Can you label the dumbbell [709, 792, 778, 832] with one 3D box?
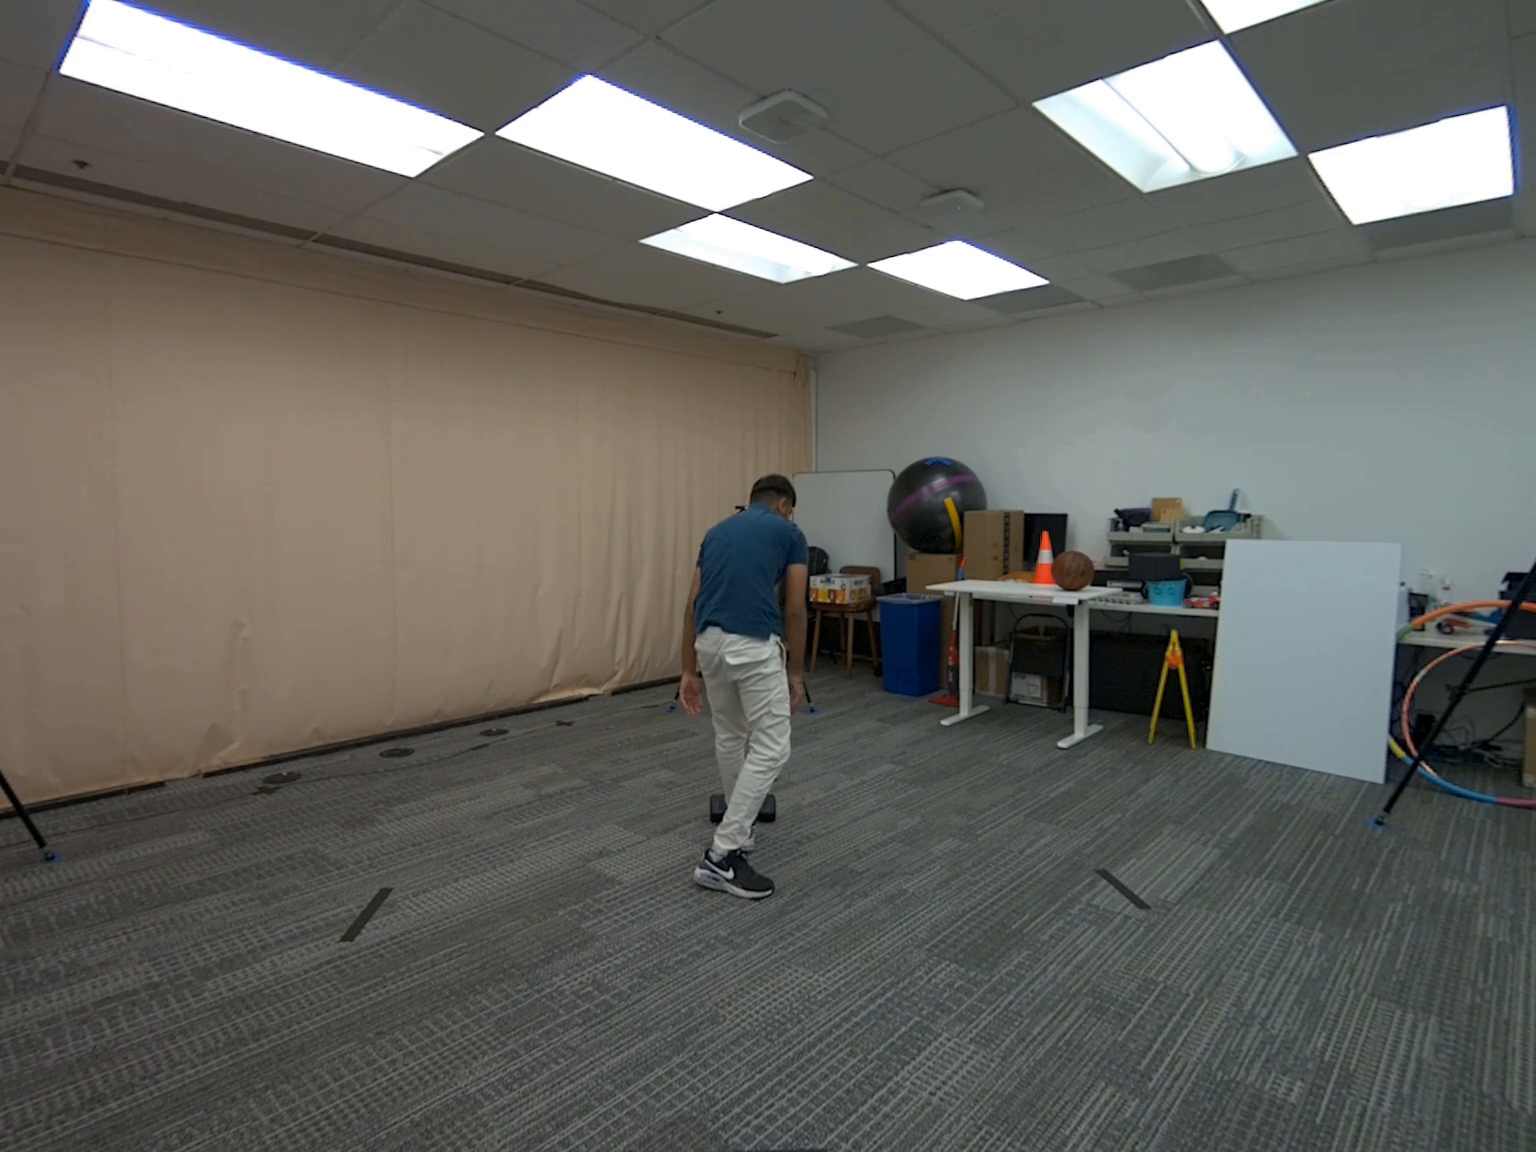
[{"bbox_3d":[-0.112,1.034,3.721,0.293,0.121,0.111,0,34,-1],"label":"dumbbell"}]
